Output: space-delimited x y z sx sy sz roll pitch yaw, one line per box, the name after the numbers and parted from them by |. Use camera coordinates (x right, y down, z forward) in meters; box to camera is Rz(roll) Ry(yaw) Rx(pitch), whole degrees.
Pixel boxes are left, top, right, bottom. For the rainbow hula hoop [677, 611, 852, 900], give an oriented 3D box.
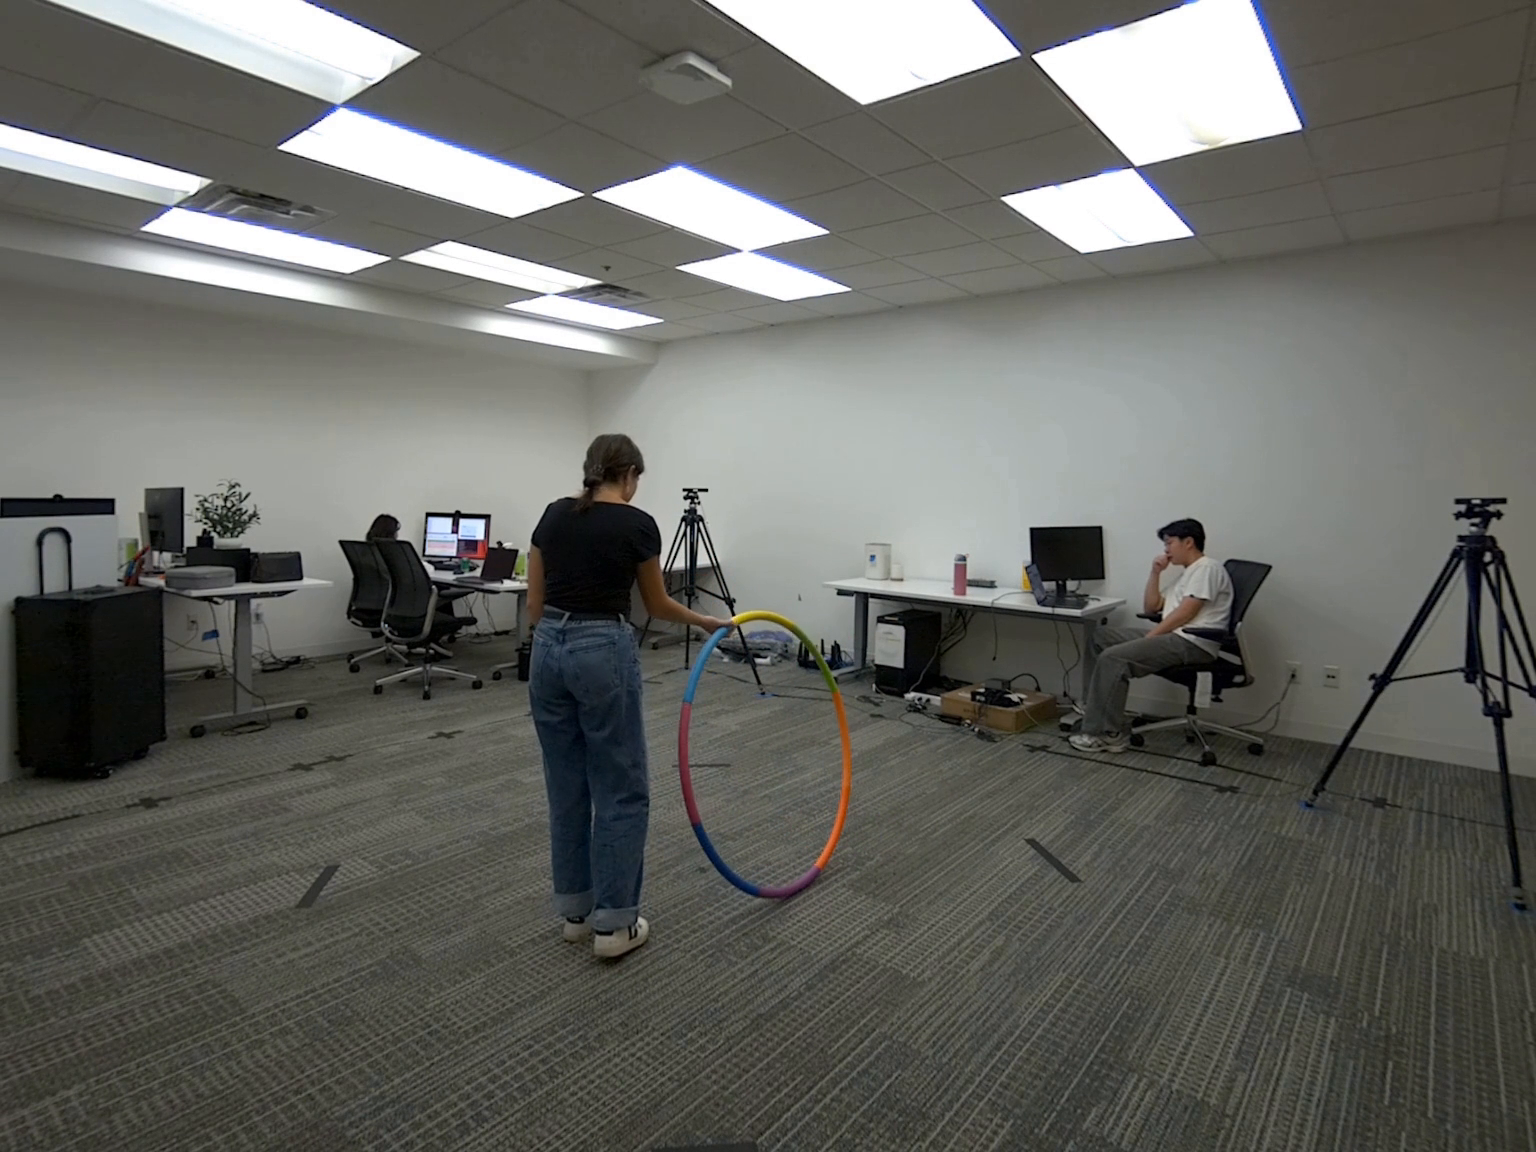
0.022 0.611 3.017 0.036 0.986 0.951 -16 -7 36 | rainbow hula hoop
